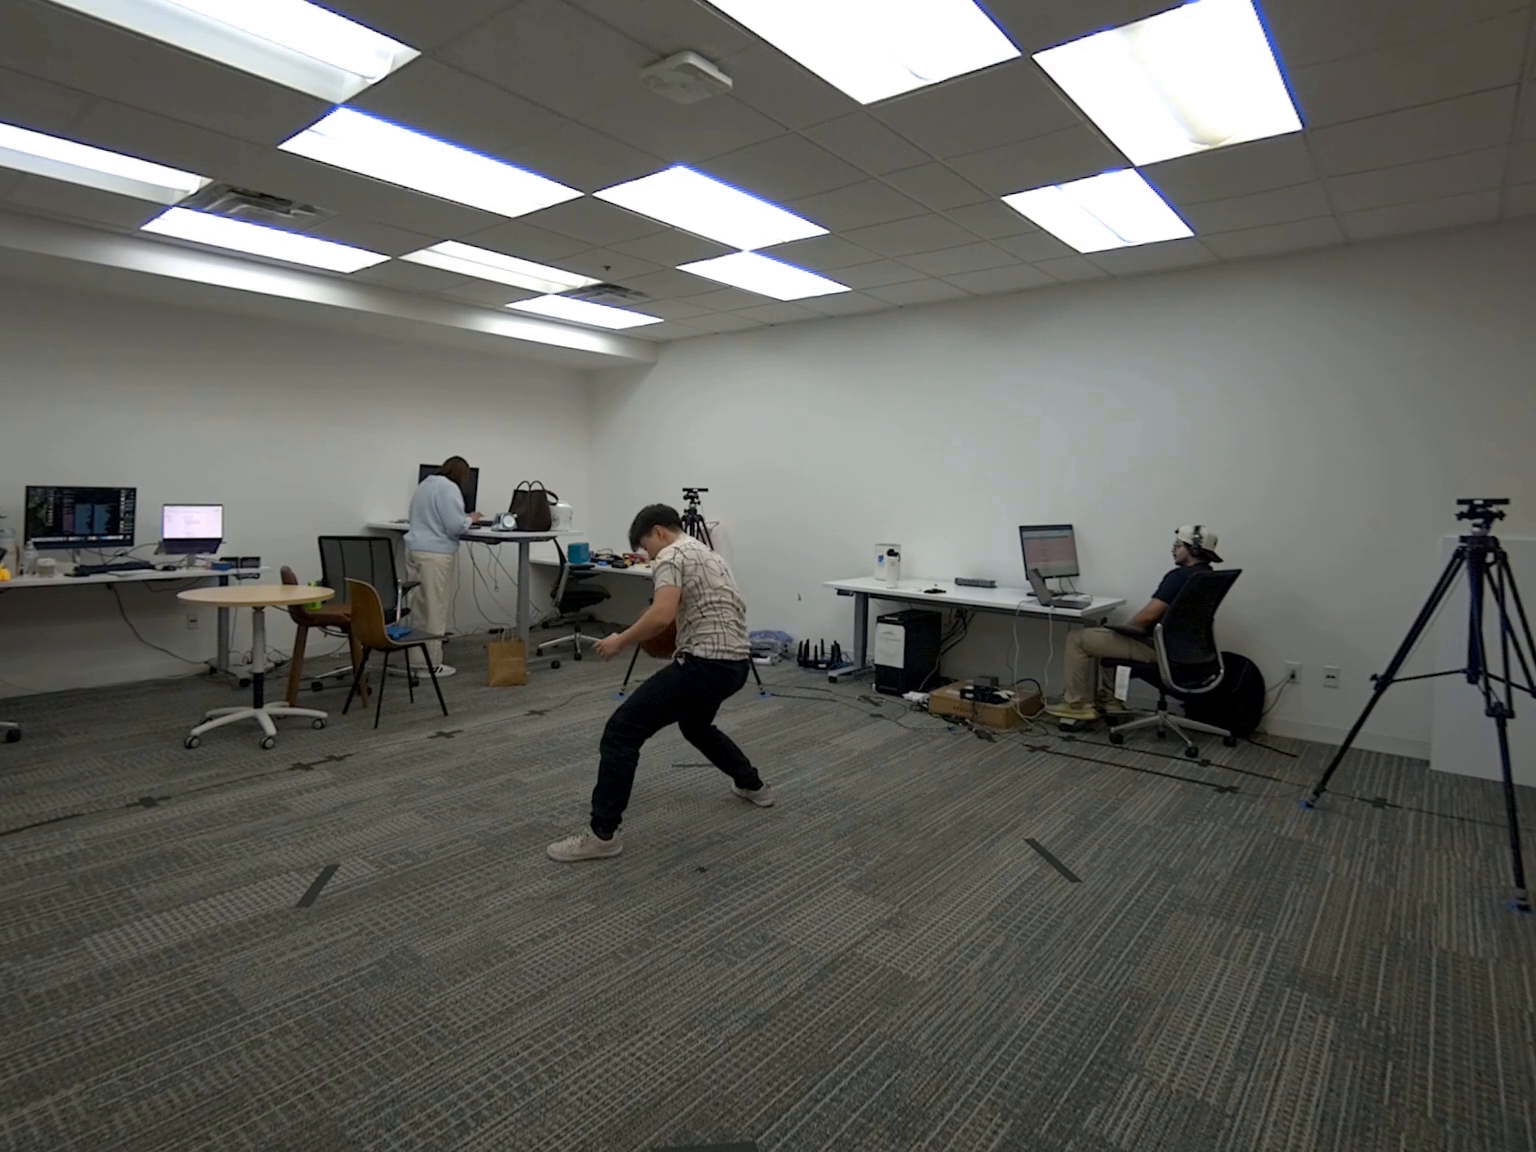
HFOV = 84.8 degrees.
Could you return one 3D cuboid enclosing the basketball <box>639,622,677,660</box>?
[{"bbox_3d":[-0.496,0.254,3.933,0.235,0.235,0.237,1,4,-2],"label":"basketball"}]
